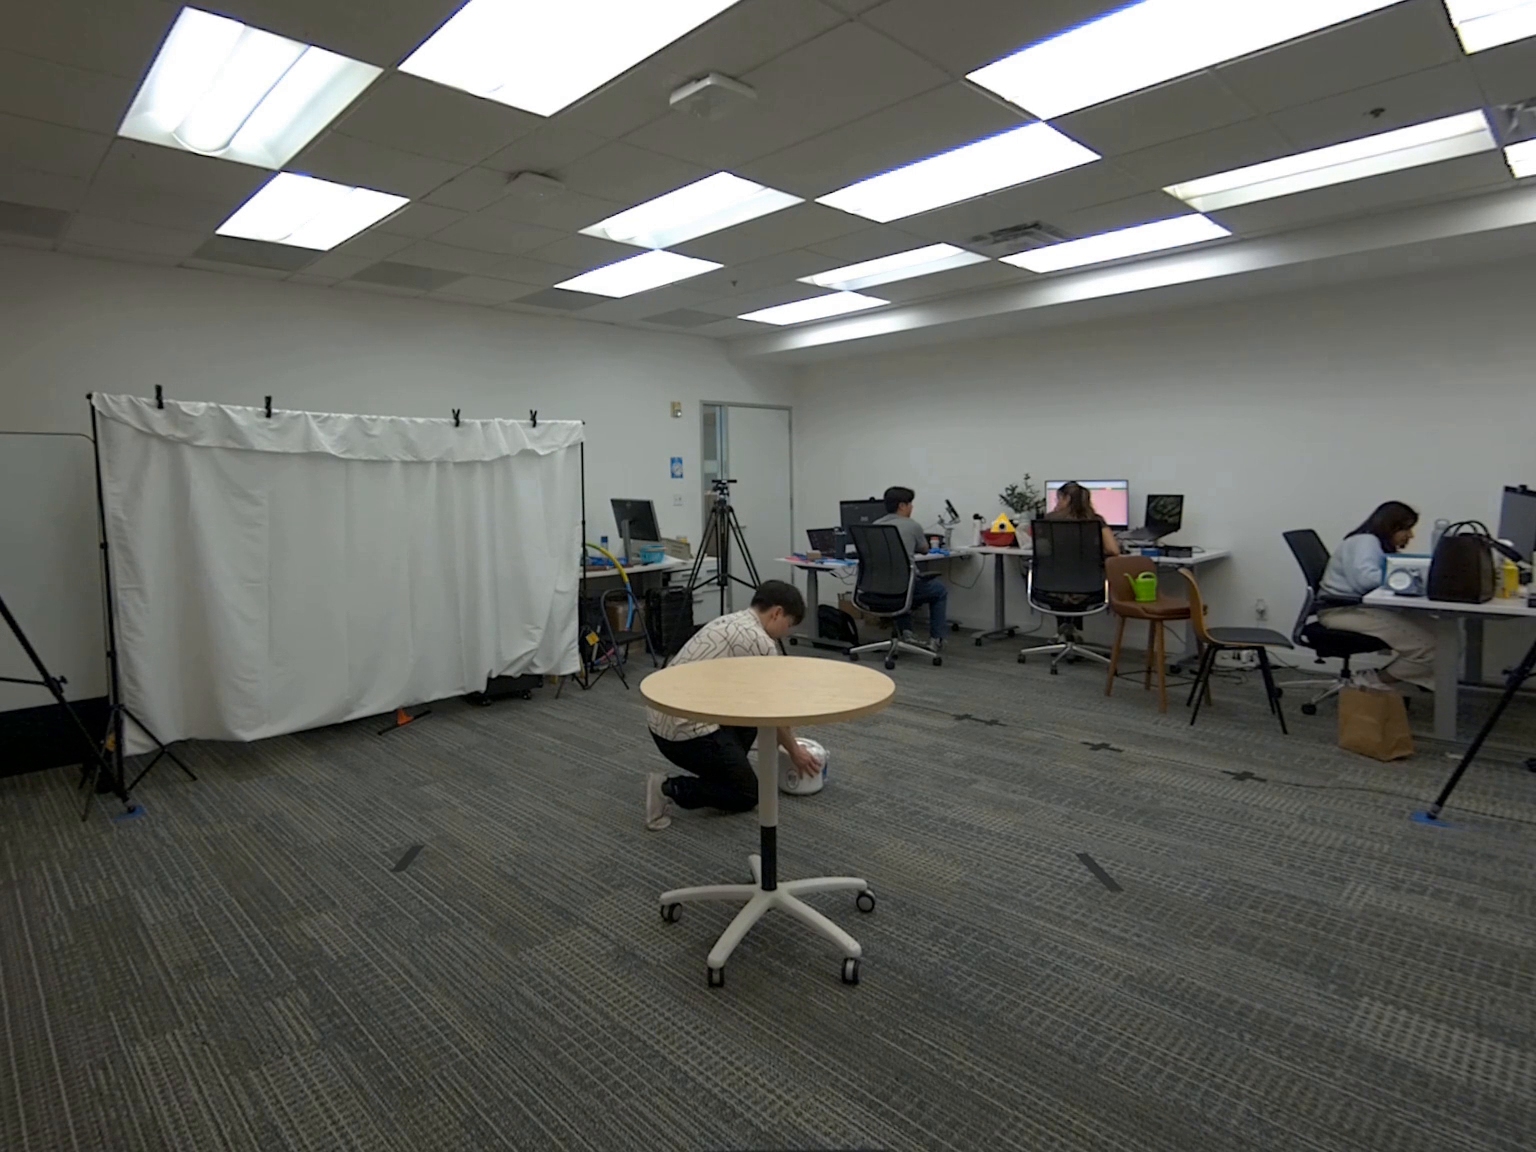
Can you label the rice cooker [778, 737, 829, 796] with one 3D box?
[{"bbox_3d":[0.146,0.845,3.844,0.225,0.232,0.213,1,3,23],"label":"rice cooker"}]
